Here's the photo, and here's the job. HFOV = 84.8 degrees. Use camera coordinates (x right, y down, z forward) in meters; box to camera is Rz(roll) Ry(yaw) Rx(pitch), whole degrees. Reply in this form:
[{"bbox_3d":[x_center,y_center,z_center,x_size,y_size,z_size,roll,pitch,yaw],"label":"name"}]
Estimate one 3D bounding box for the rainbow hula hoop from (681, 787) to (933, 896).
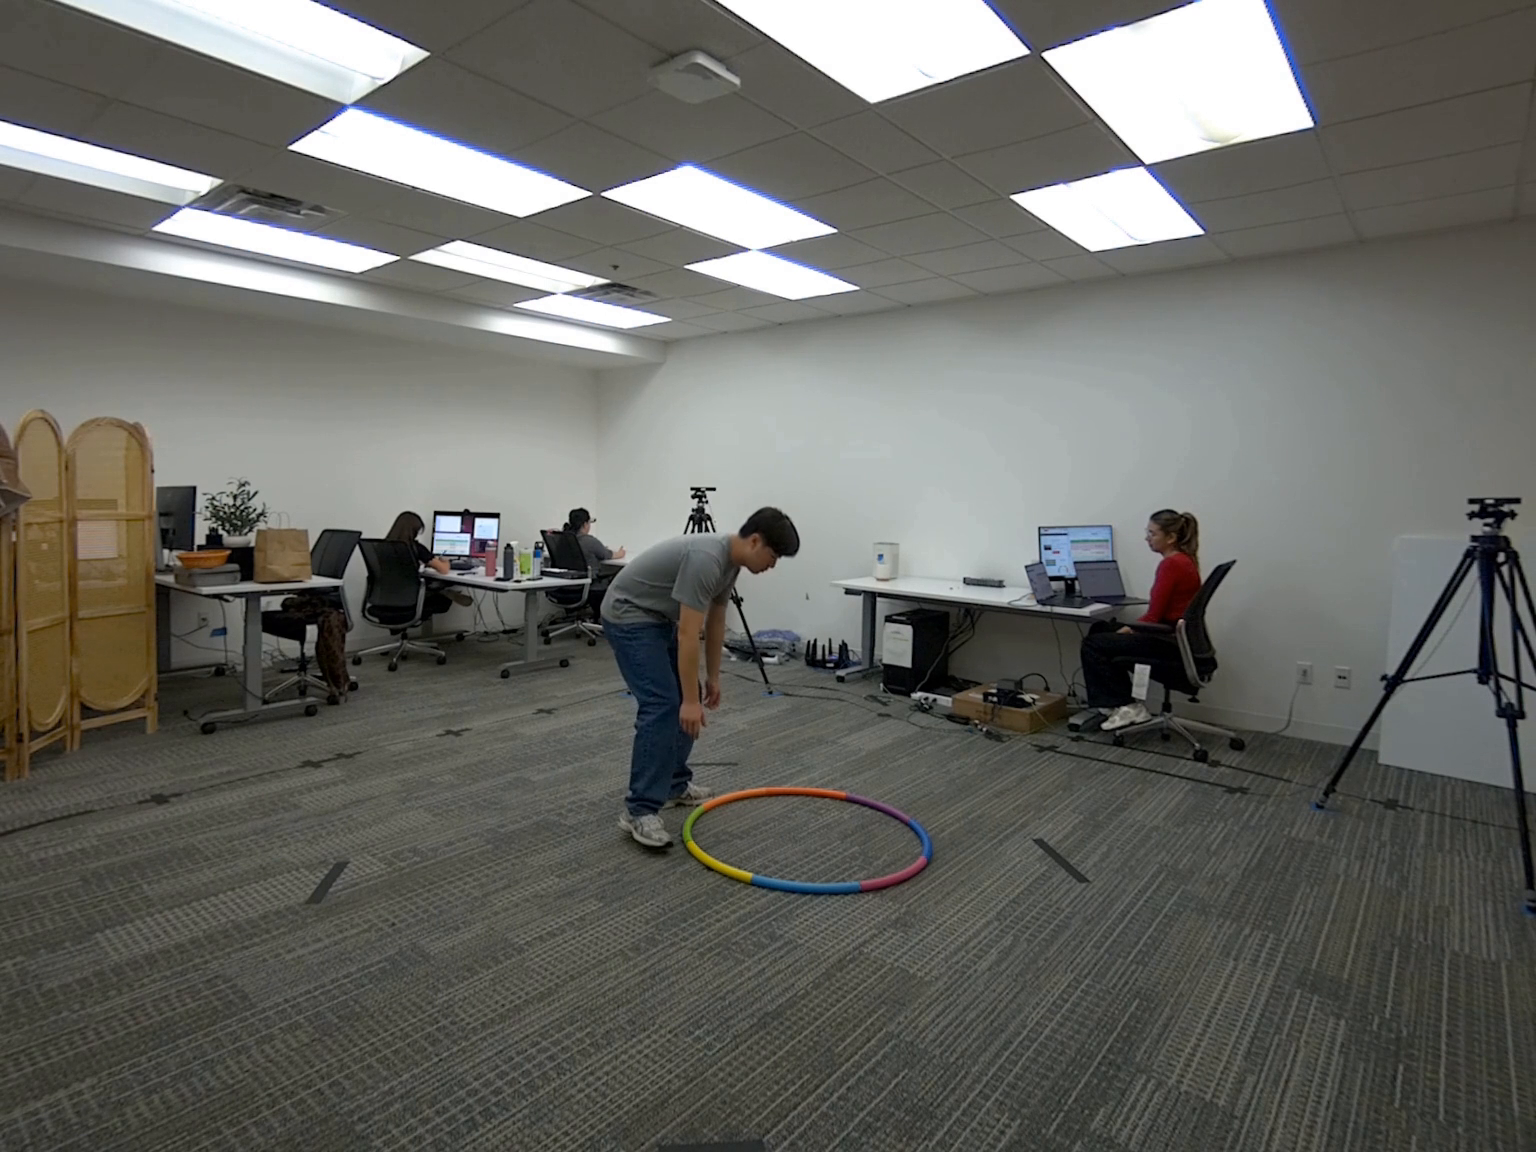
[{"bbox_3d":[0.137,1.014,3.403,0.978,0.035,0.984,2,6,-2],"label":"rainbow hula hoop"}]
